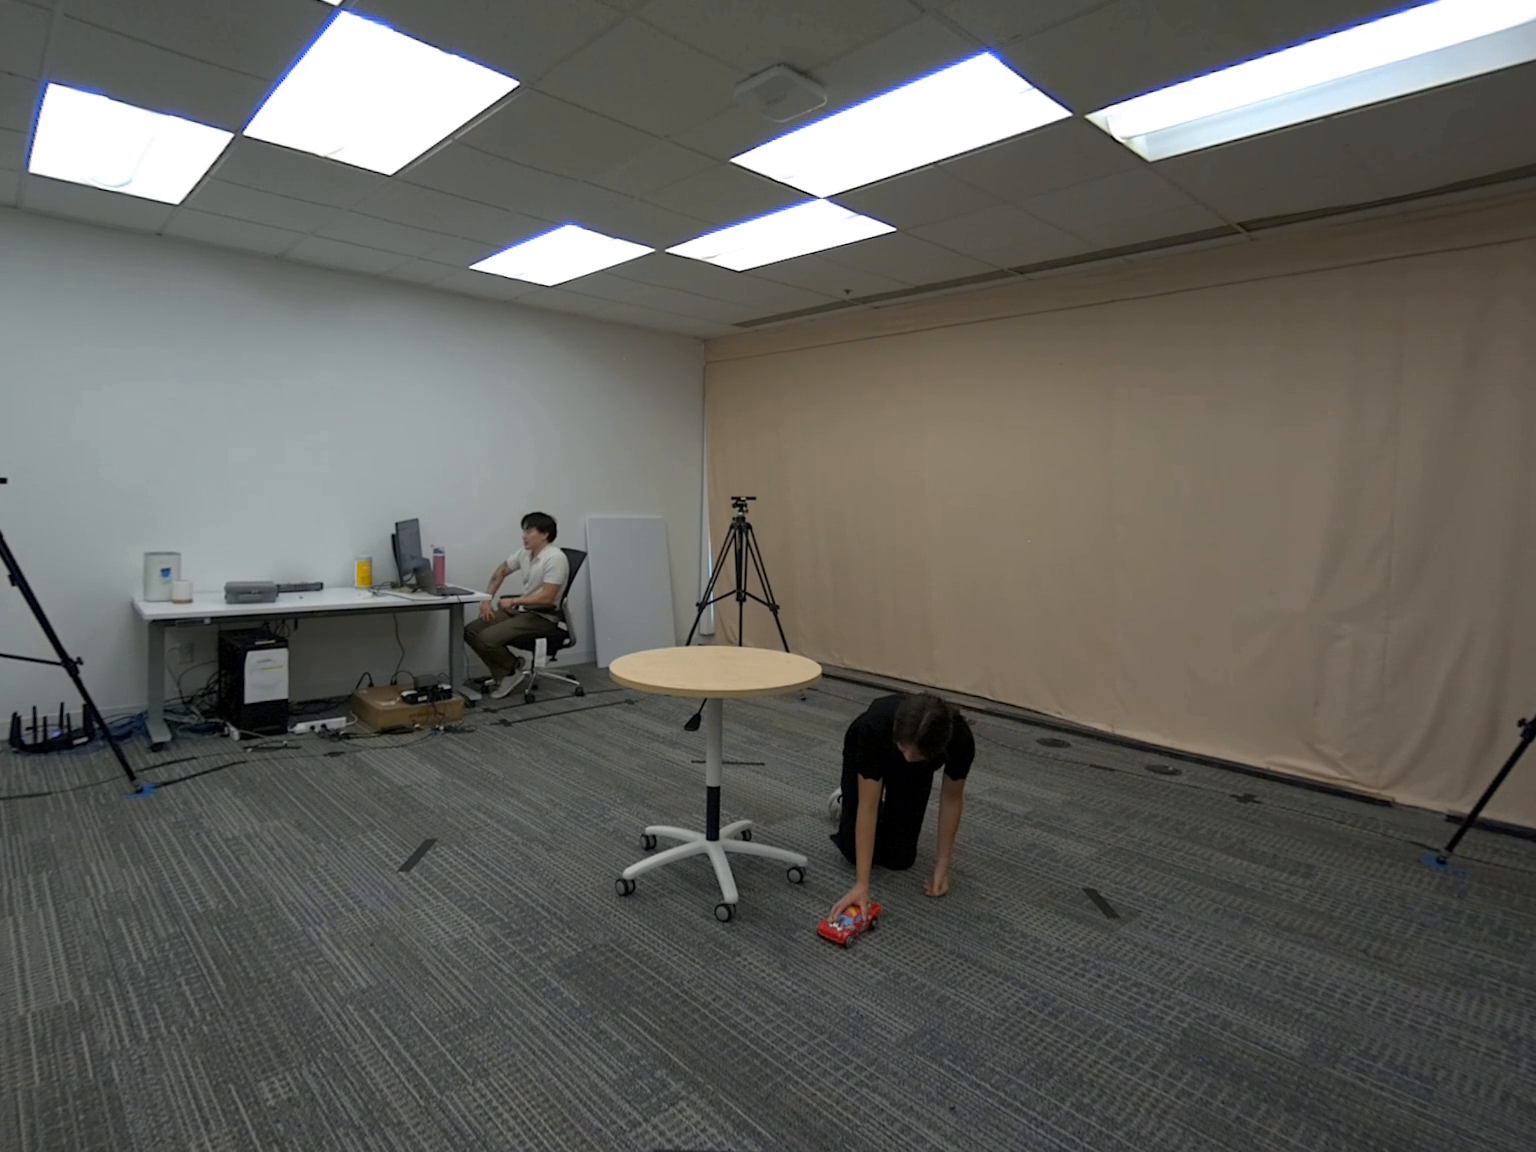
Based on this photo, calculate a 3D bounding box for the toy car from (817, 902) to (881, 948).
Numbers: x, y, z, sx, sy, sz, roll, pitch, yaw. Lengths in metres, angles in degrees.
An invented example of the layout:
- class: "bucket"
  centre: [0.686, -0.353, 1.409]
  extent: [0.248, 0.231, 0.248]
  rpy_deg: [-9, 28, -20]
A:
- class: "toy car"
  centre: [0.267, 1.121, 2.724]
  extent: [0.133, 0.082, 0.250]
  rpy_deg: [5, 16, 39]
